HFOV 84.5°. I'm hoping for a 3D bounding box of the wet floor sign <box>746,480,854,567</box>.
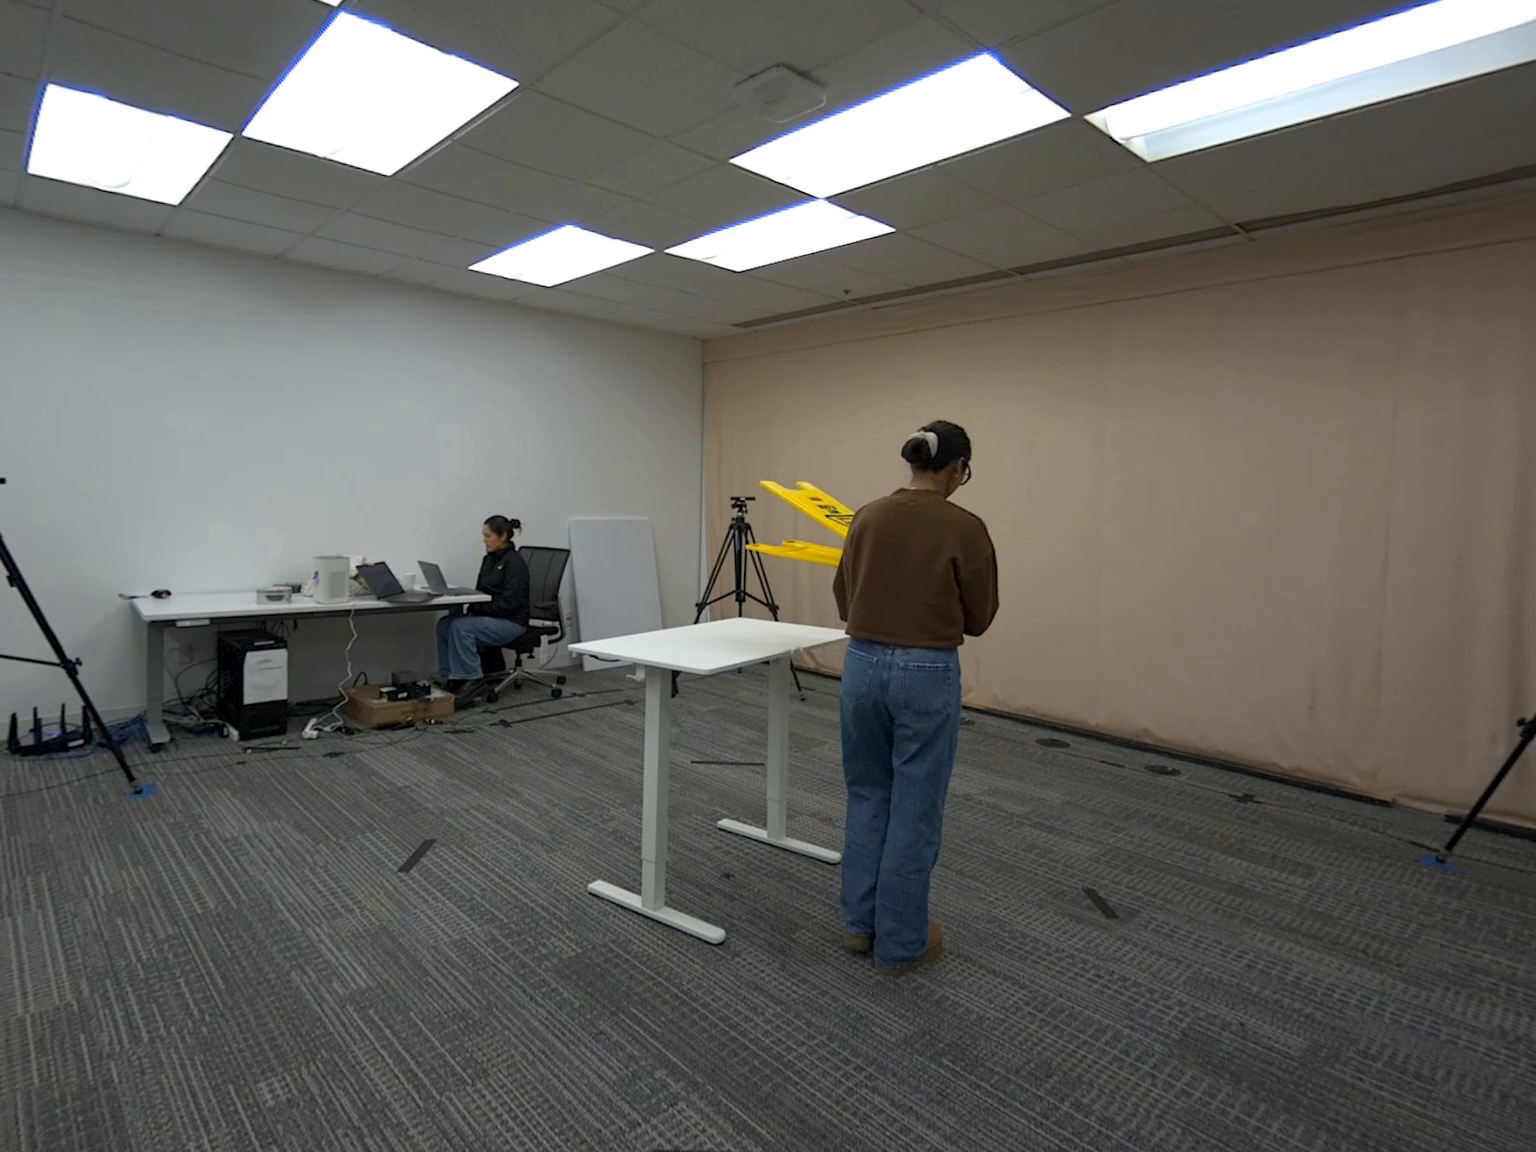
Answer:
[{"bbox_3d":[0.265,-0.112,2.926,0.666,0.287,0.276,24,19,39],"label":"wet floor sign"}]
